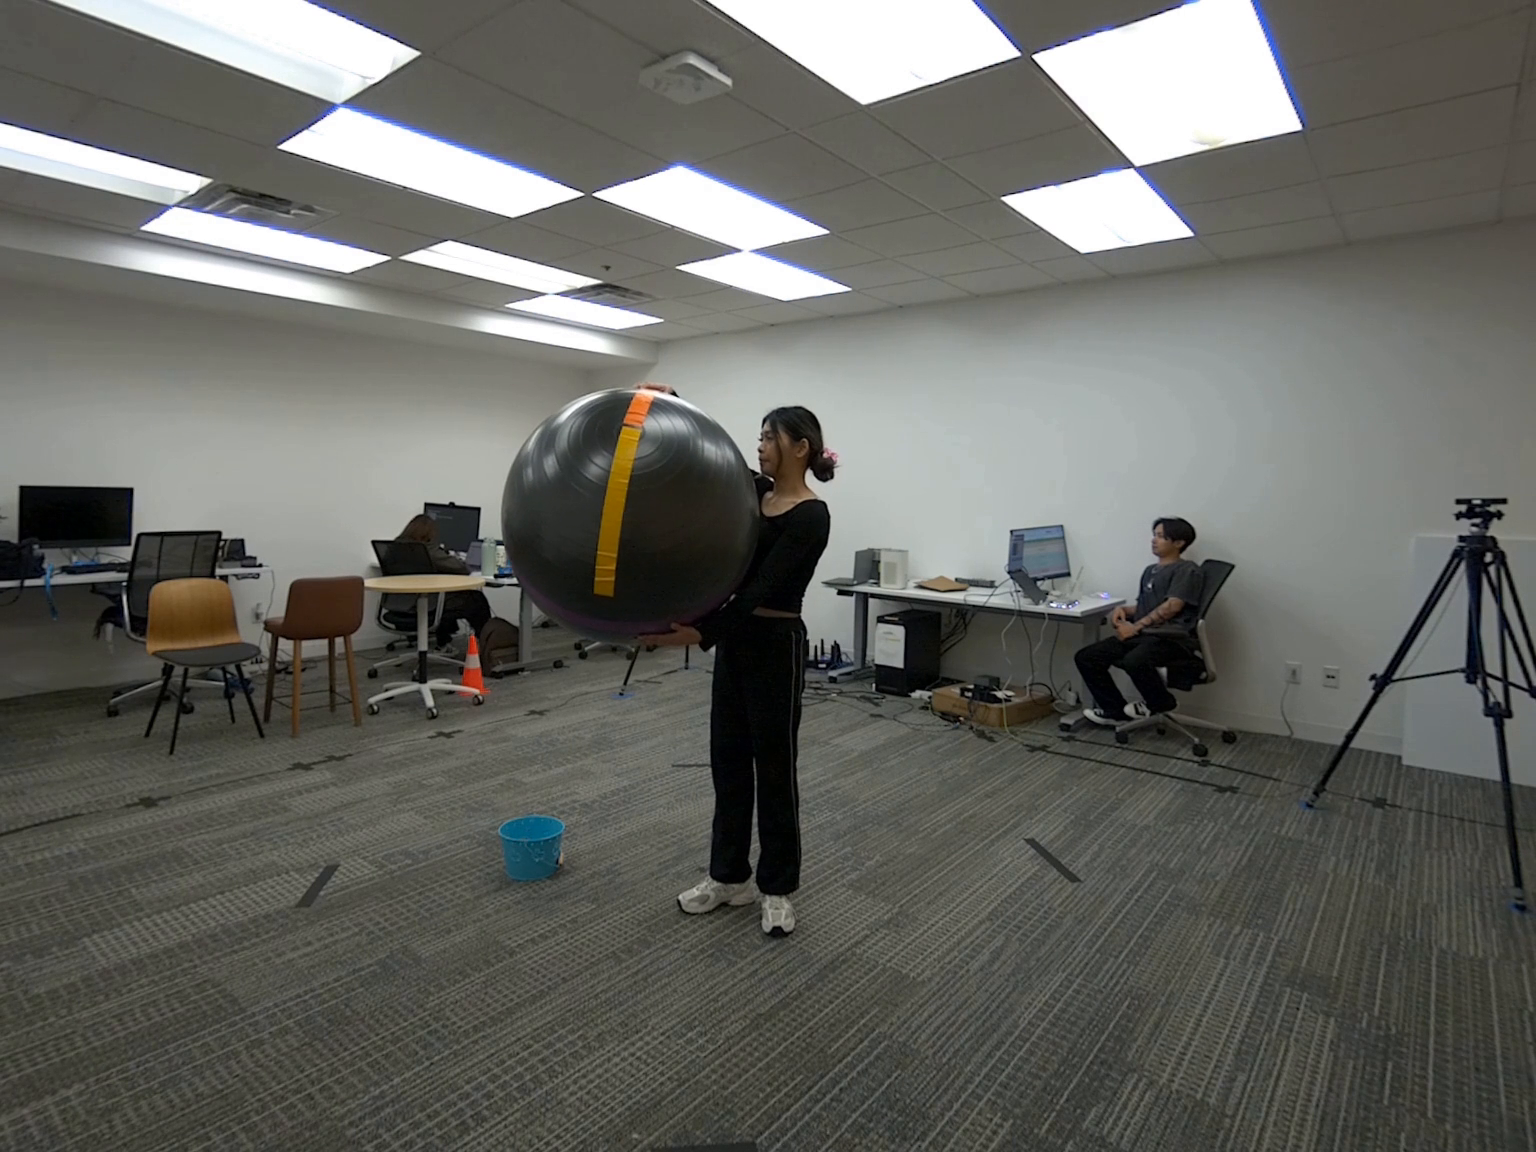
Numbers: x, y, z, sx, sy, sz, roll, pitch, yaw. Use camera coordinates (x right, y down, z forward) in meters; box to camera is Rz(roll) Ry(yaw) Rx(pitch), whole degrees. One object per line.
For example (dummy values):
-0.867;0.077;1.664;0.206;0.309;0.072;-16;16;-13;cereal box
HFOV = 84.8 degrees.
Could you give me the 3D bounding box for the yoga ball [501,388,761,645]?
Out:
-0.411;-0.172;2.518;0.757;0.755;0.762;1;4;-2;yoga ball
